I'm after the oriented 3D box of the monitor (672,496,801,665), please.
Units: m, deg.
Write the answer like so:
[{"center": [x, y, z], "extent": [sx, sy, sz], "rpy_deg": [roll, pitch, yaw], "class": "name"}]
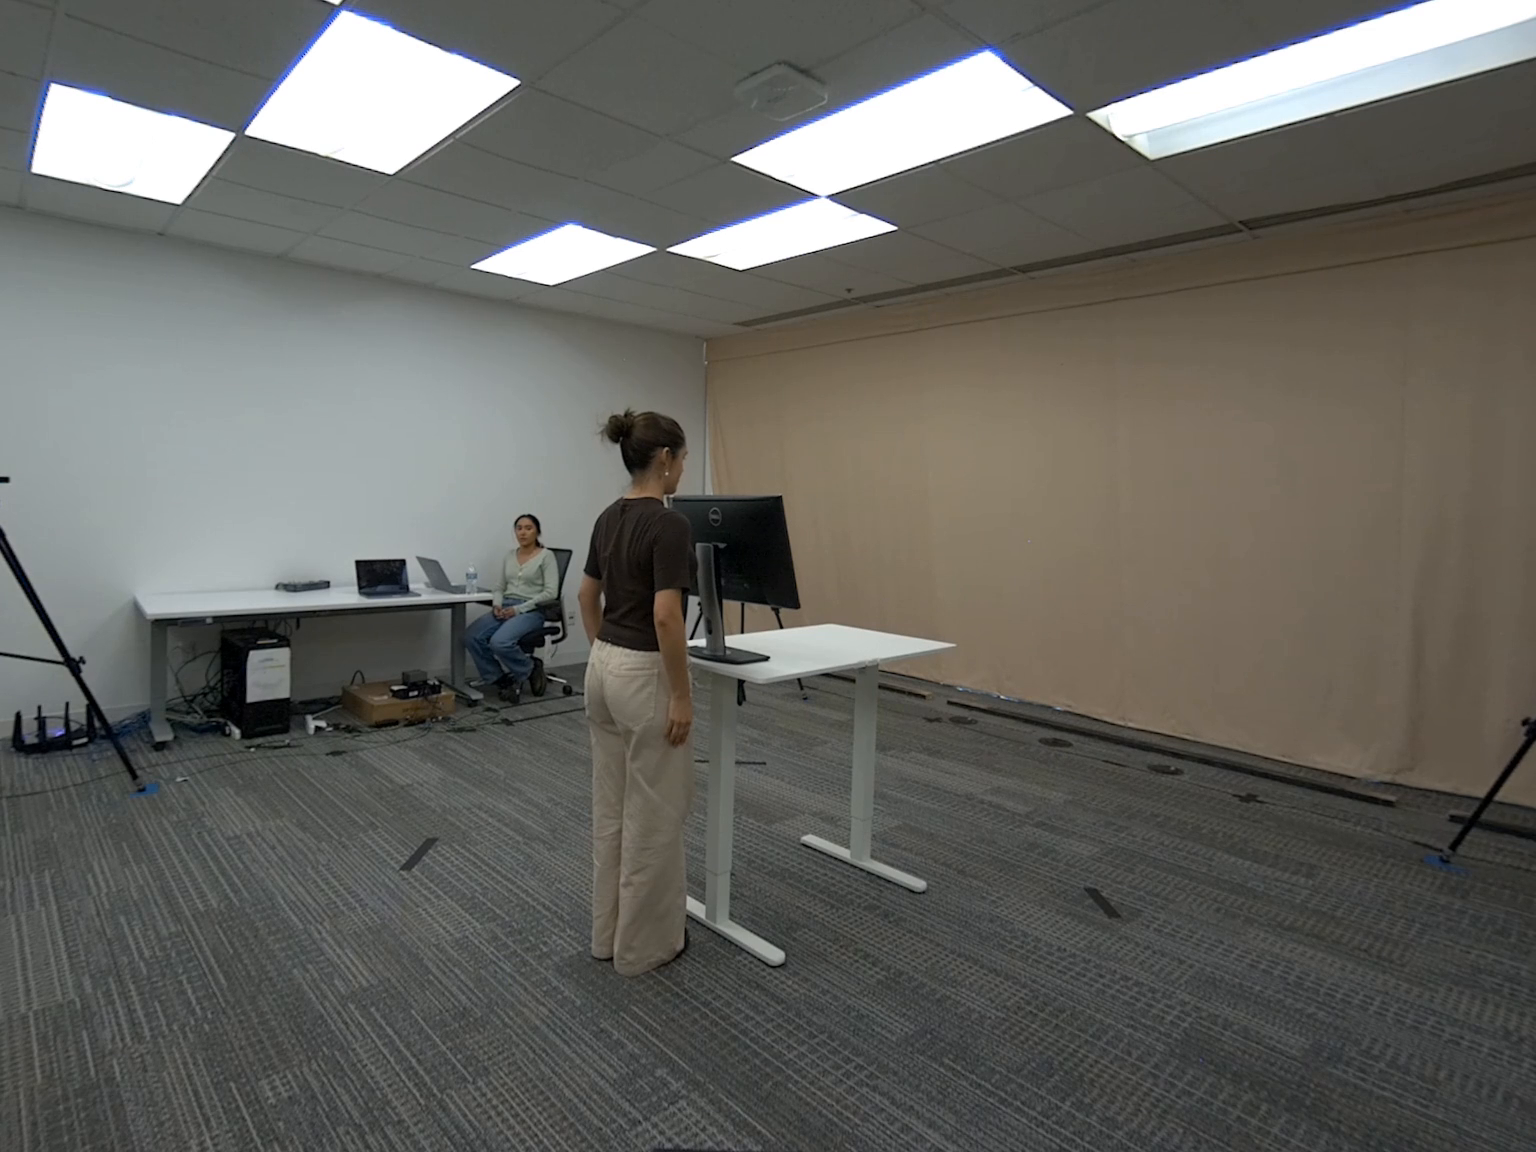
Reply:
[{"center": [-0.142, 0.002, 2.661], "extent": [0.543, 0.516, 0.170], "rpy_deg": [3, 1, 45], "class": "monitor"}]
